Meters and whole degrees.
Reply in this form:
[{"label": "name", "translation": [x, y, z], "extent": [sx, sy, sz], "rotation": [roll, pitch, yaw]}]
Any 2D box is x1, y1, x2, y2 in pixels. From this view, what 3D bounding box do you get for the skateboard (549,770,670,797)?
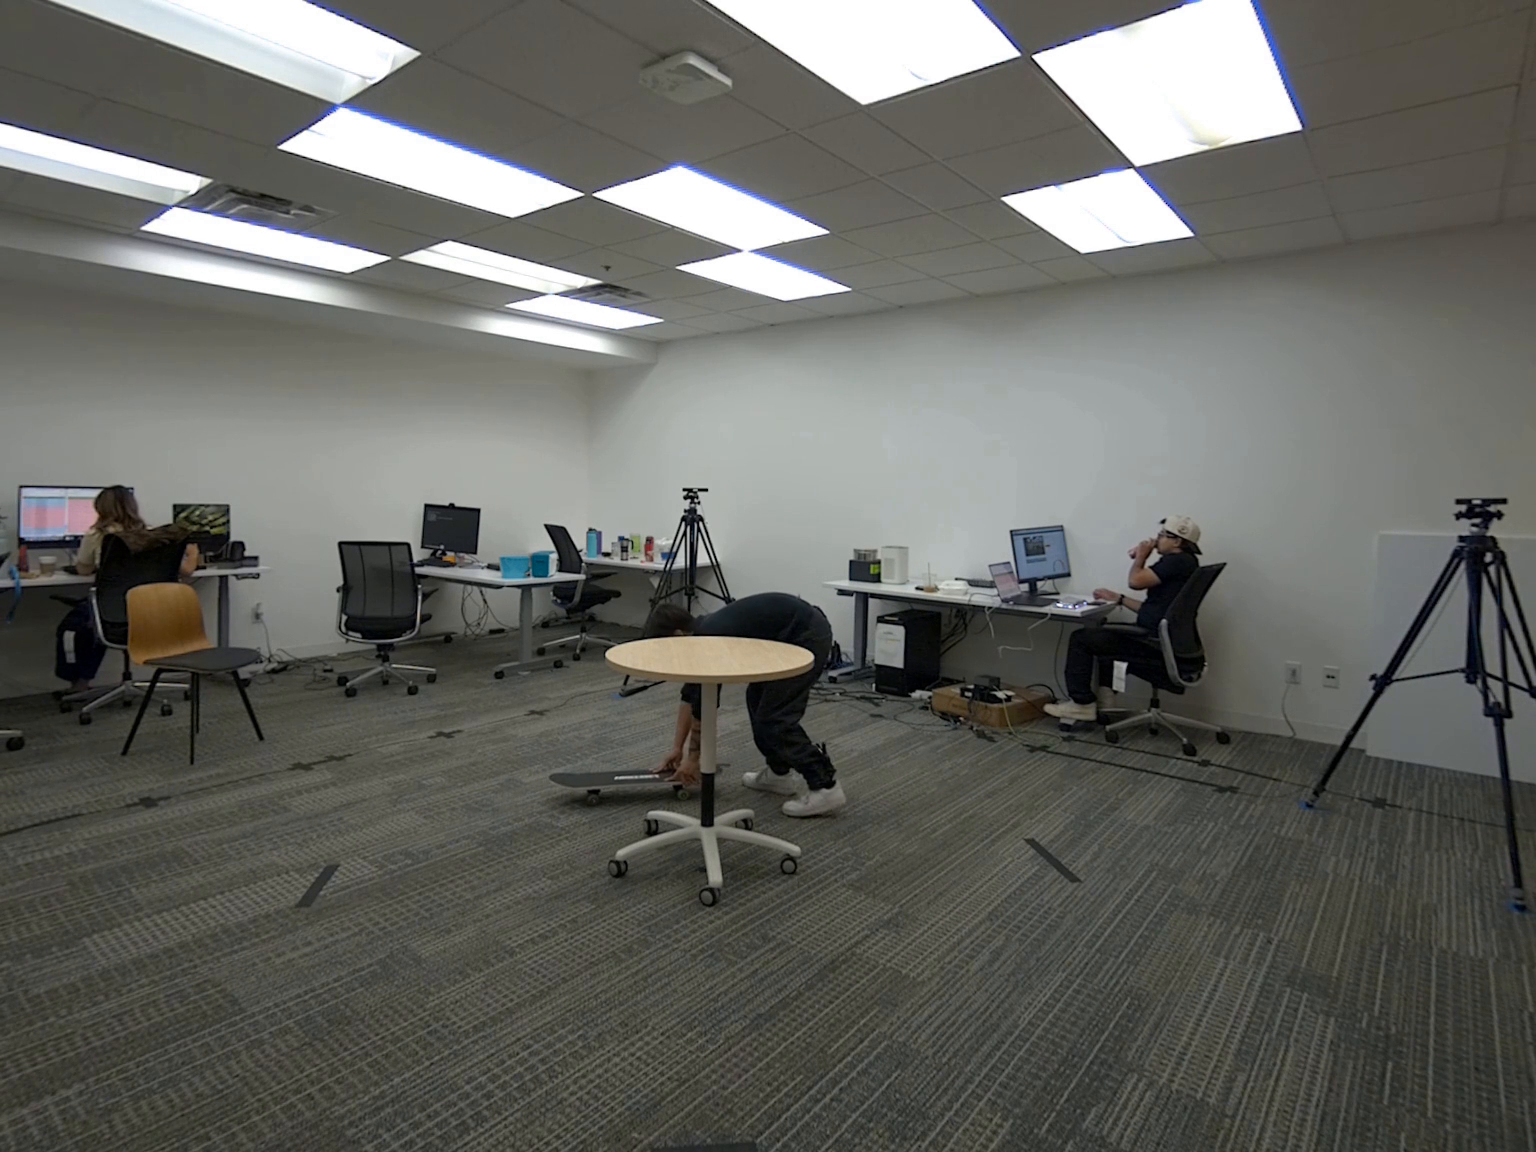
[{"label": "skateboard", "translation": [-0.606, 0.938, 3.837], "extent": [0.775, 0.110, 0.196], "rotation": [-1, 4, -12]}]
